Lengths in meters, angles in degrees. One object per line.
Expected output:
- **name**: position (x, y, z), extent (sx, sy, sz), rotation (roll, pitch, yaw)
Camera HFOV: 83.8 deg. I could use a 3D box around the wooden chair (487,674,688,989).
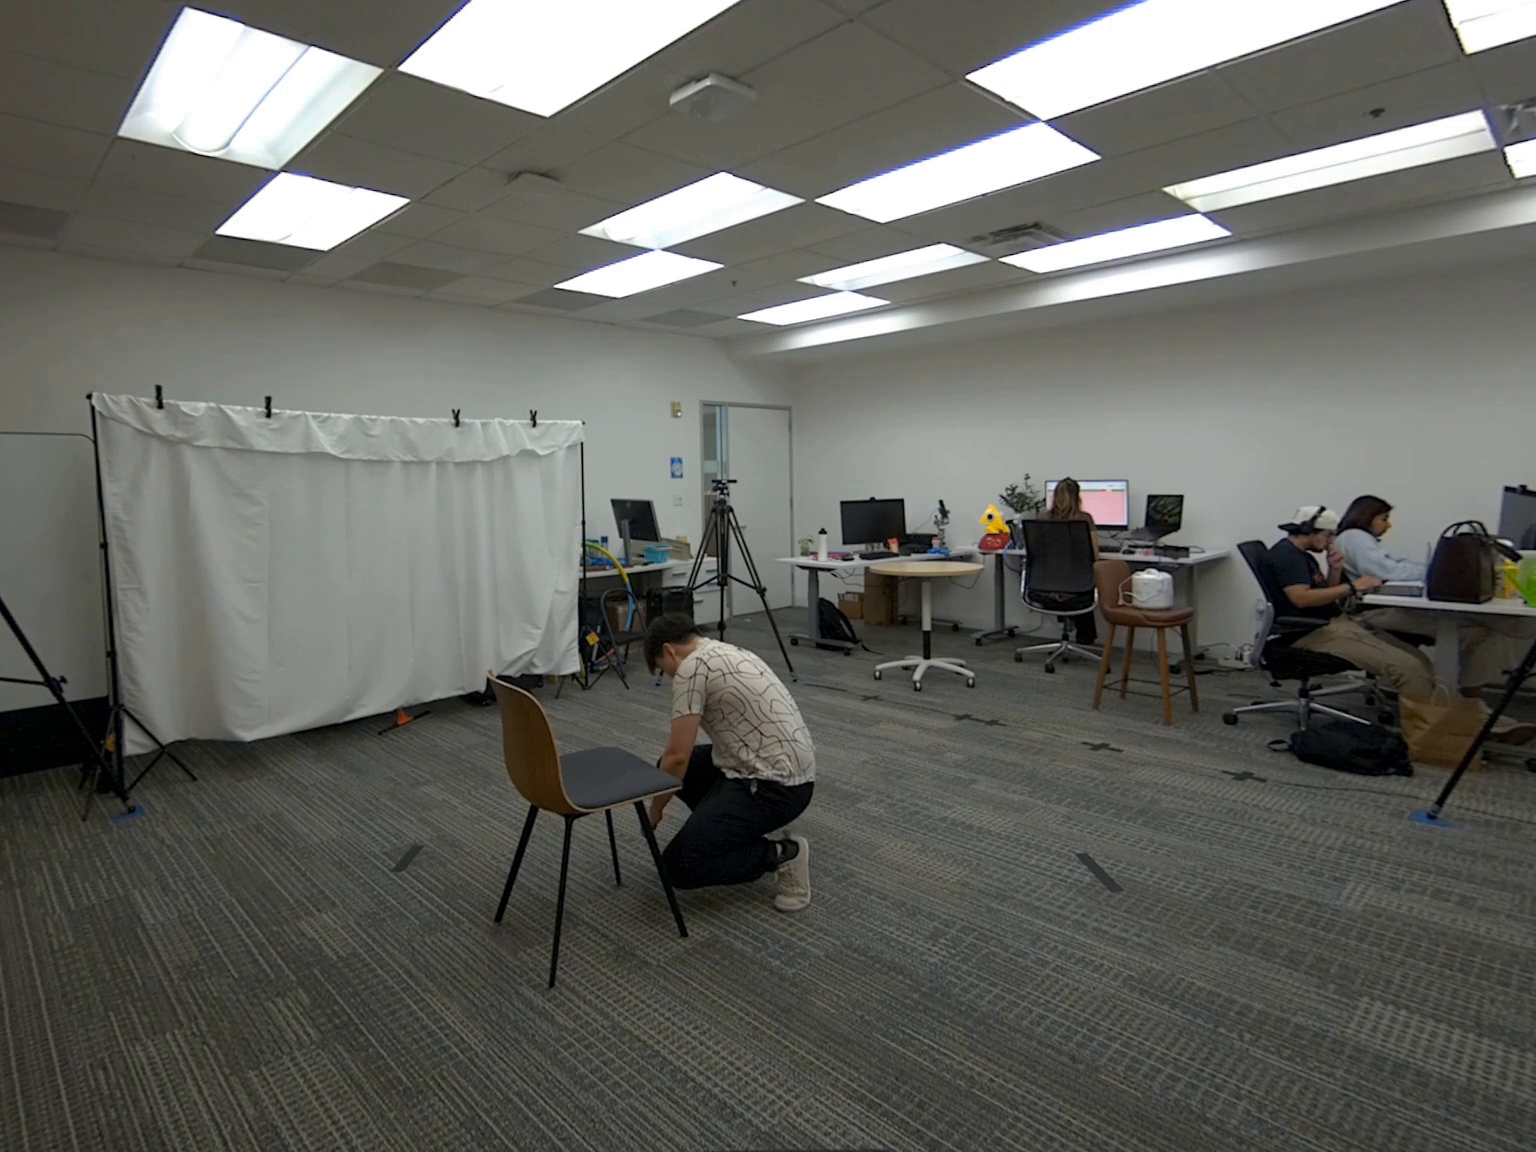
- **wooden chair**: position (-0.563, 0.684, 2.648), extent (0.511, 0.872, 0.492), rotation (-9, 8, -35)
